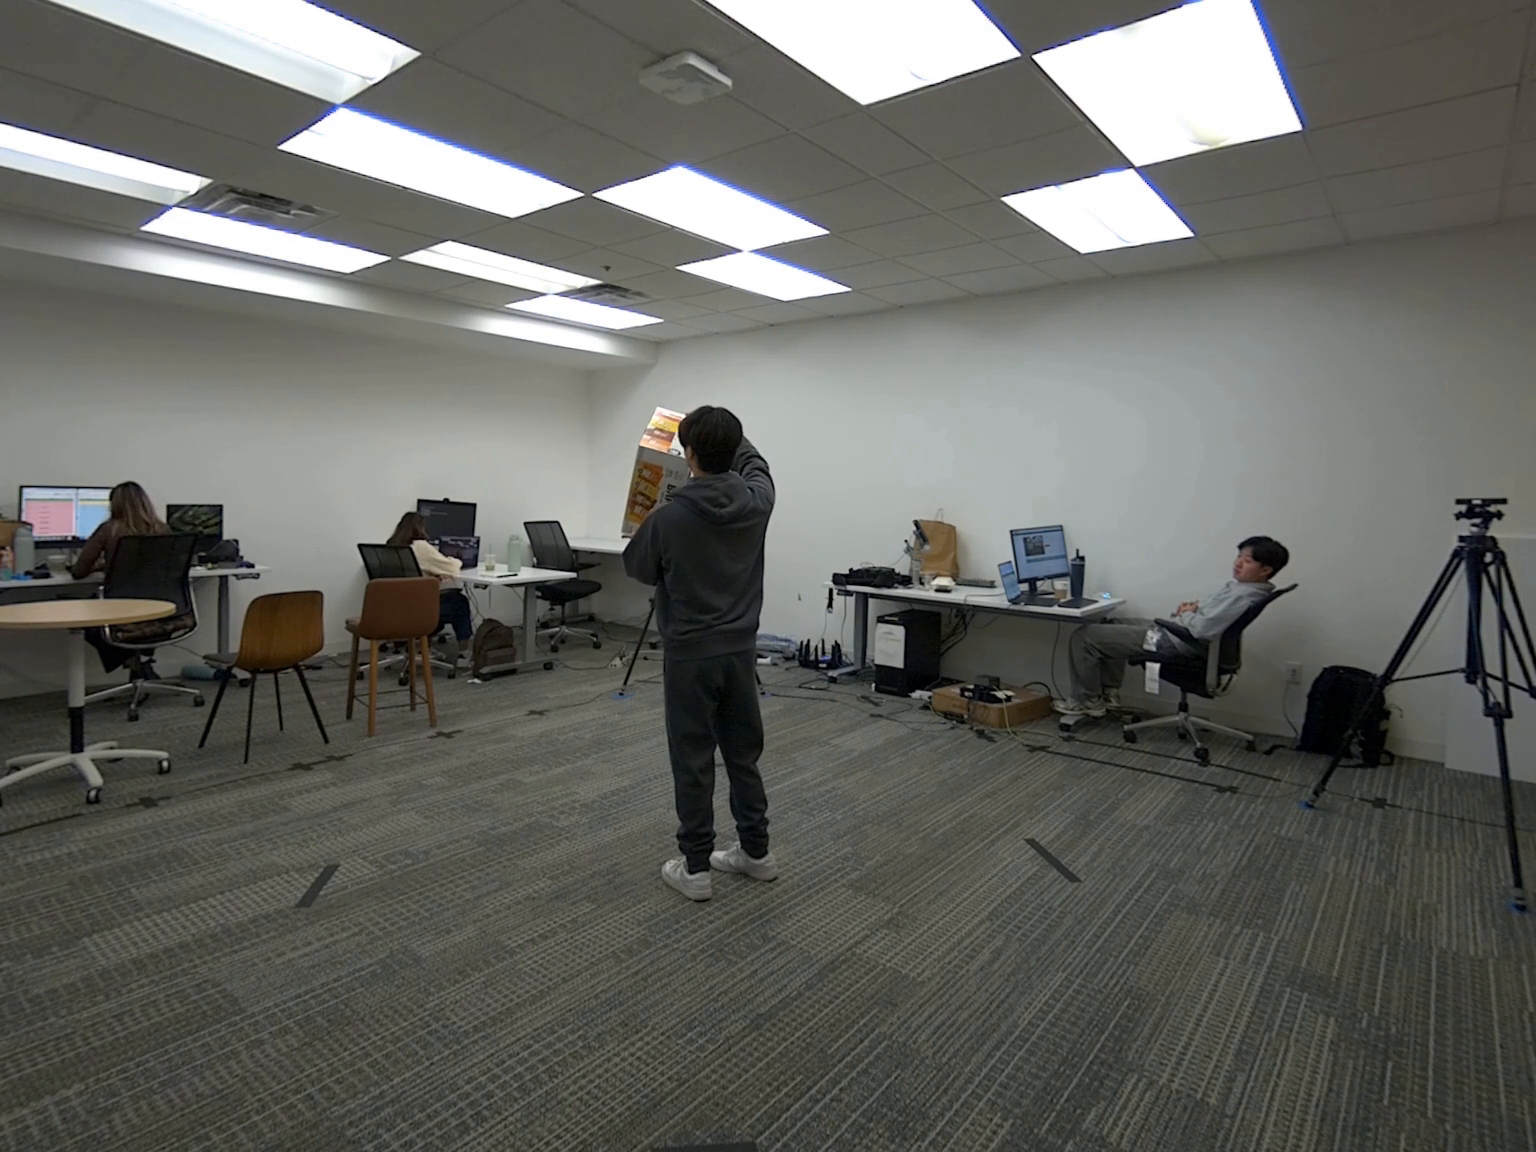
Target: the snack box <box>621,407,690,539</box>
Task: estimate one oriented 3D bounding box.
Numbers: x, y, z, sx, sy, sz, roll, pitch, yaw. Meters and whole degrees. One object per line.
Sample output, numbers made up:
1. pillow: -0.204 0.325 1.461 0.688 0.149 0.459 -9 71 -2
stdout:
1. snack box: -0.429 -0.400 3.360 0.205 0.398 0.347 16 35 -3
